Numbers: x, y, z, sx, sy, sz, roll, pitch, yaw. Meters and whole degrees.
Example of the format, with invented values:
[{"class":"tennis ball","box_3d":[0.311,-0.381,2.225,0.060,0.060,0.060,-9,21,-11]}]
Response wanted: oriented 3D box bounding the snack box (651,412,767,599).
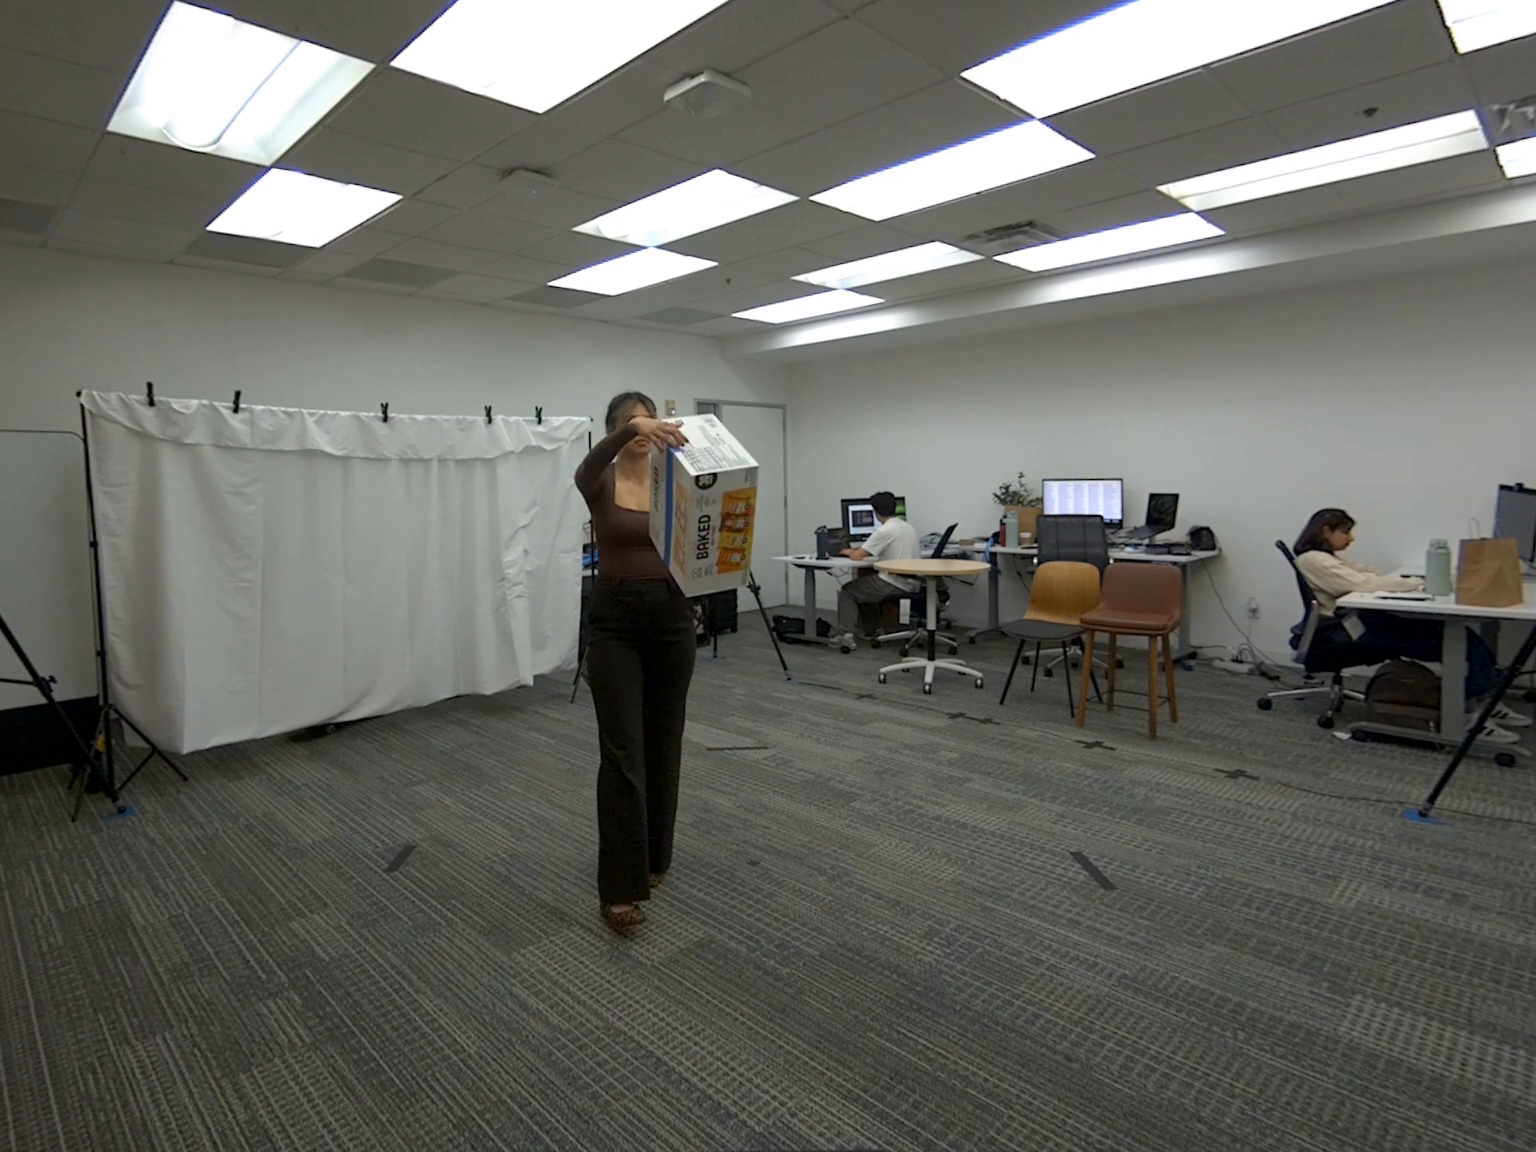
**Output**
[{"class":"snack box","box_3d":[-0.188,-0.214,2.514,0.202,0.396,0.354,-10,37,-22]}]
